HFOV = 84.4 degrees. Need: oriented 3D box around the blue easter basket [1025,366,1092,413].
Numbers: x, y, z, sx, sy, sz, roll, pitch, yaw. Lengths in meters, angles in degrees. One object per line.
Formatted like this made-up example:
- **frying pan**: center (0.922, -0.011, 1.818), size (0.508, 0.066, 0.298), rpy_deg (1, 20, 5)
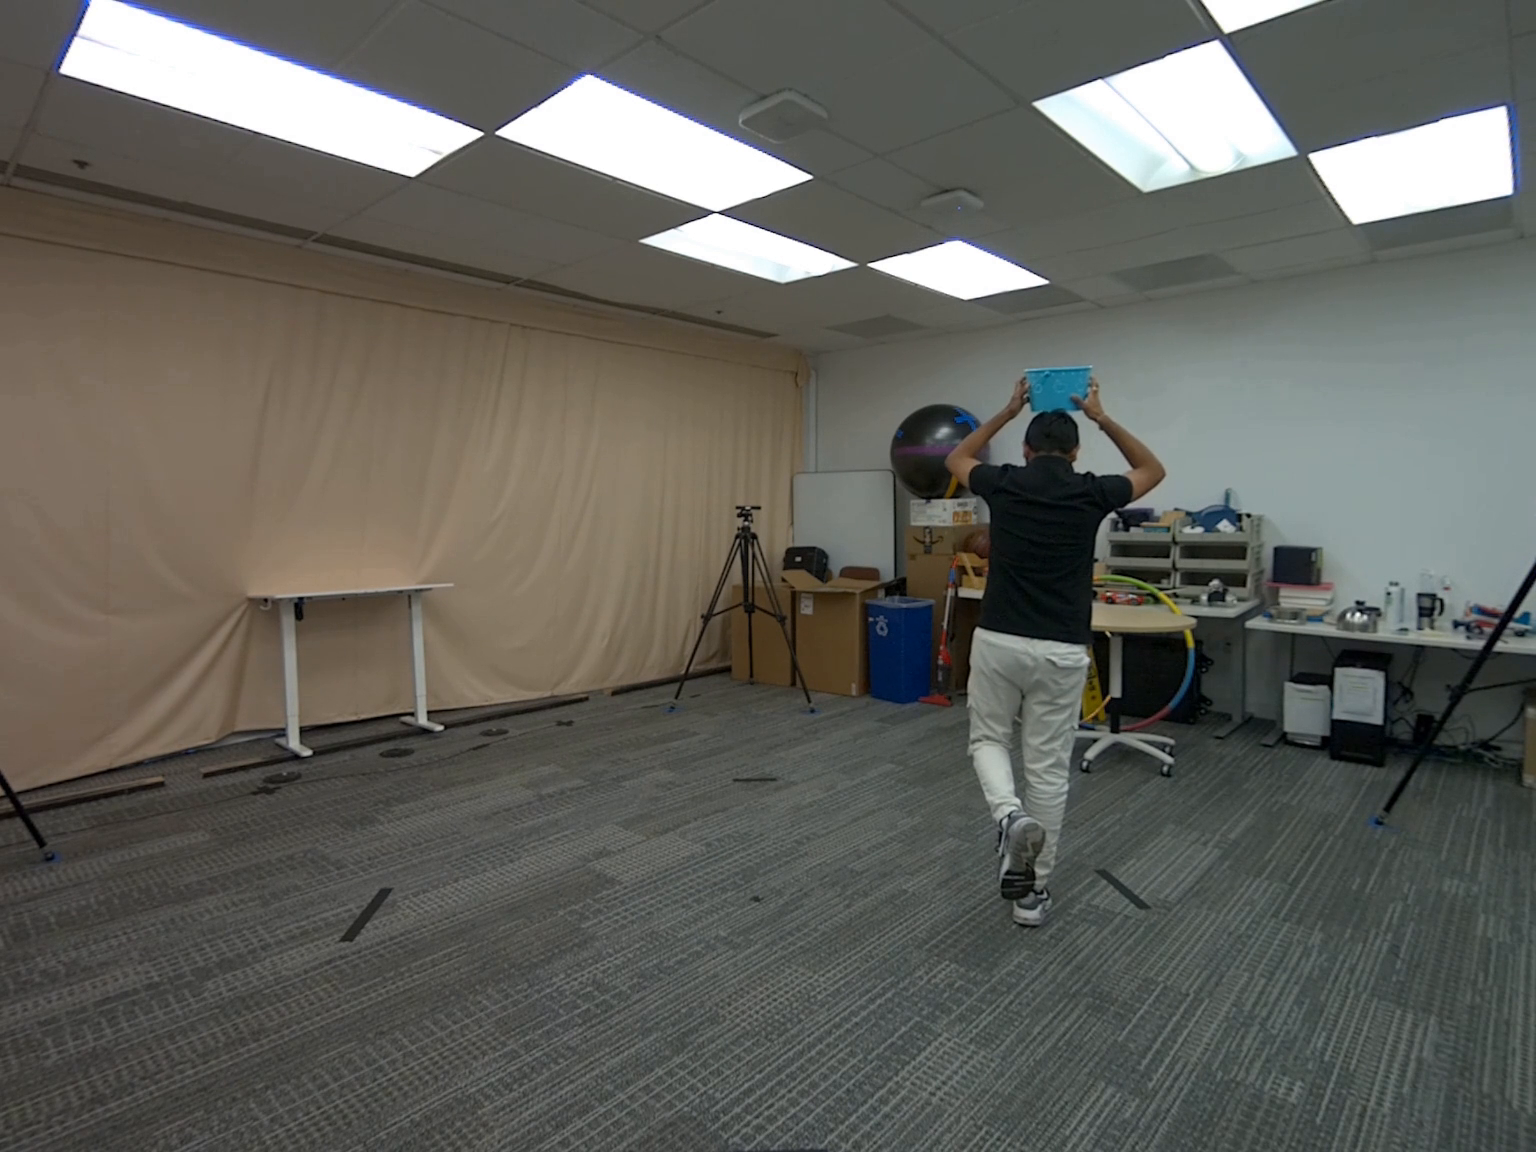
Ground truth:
- **blue easter basket**: center (1.071, -0.684, 3.084), size (0.243, 0.154, 0.246), rpy_deg (-3, 14, -1)
